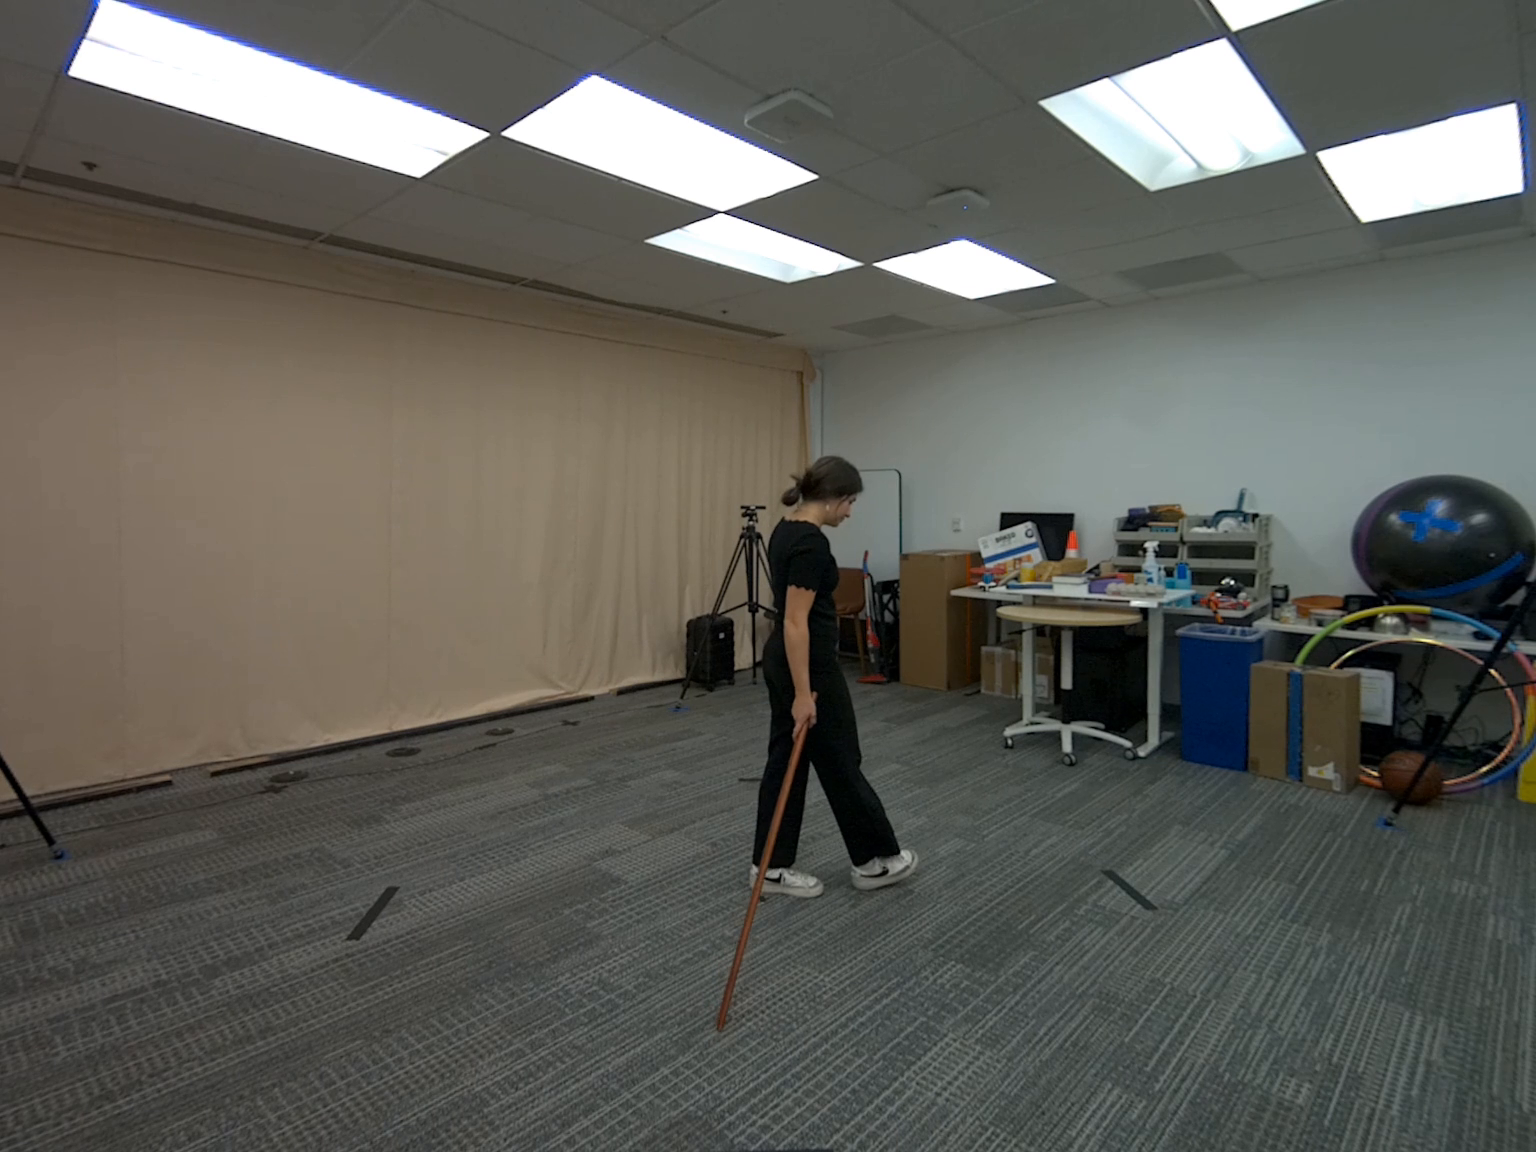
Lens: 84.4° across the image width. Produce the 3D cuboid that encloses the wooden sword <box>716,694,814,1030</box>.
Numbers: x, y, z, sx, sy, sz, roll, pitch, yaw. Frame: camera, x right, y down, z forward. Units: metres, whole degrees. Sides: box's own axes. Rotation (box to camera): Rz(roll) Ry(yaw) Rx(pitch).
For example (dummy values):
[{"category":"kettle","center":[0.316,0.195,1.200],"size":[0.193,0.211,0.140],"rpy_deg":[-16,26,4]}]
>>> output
[{"category":"wooden sword","center":[0.015,0.811,2.528],"size":[0.052,1.032,0.024],"rpy_deg":[14,-35,5]}]
